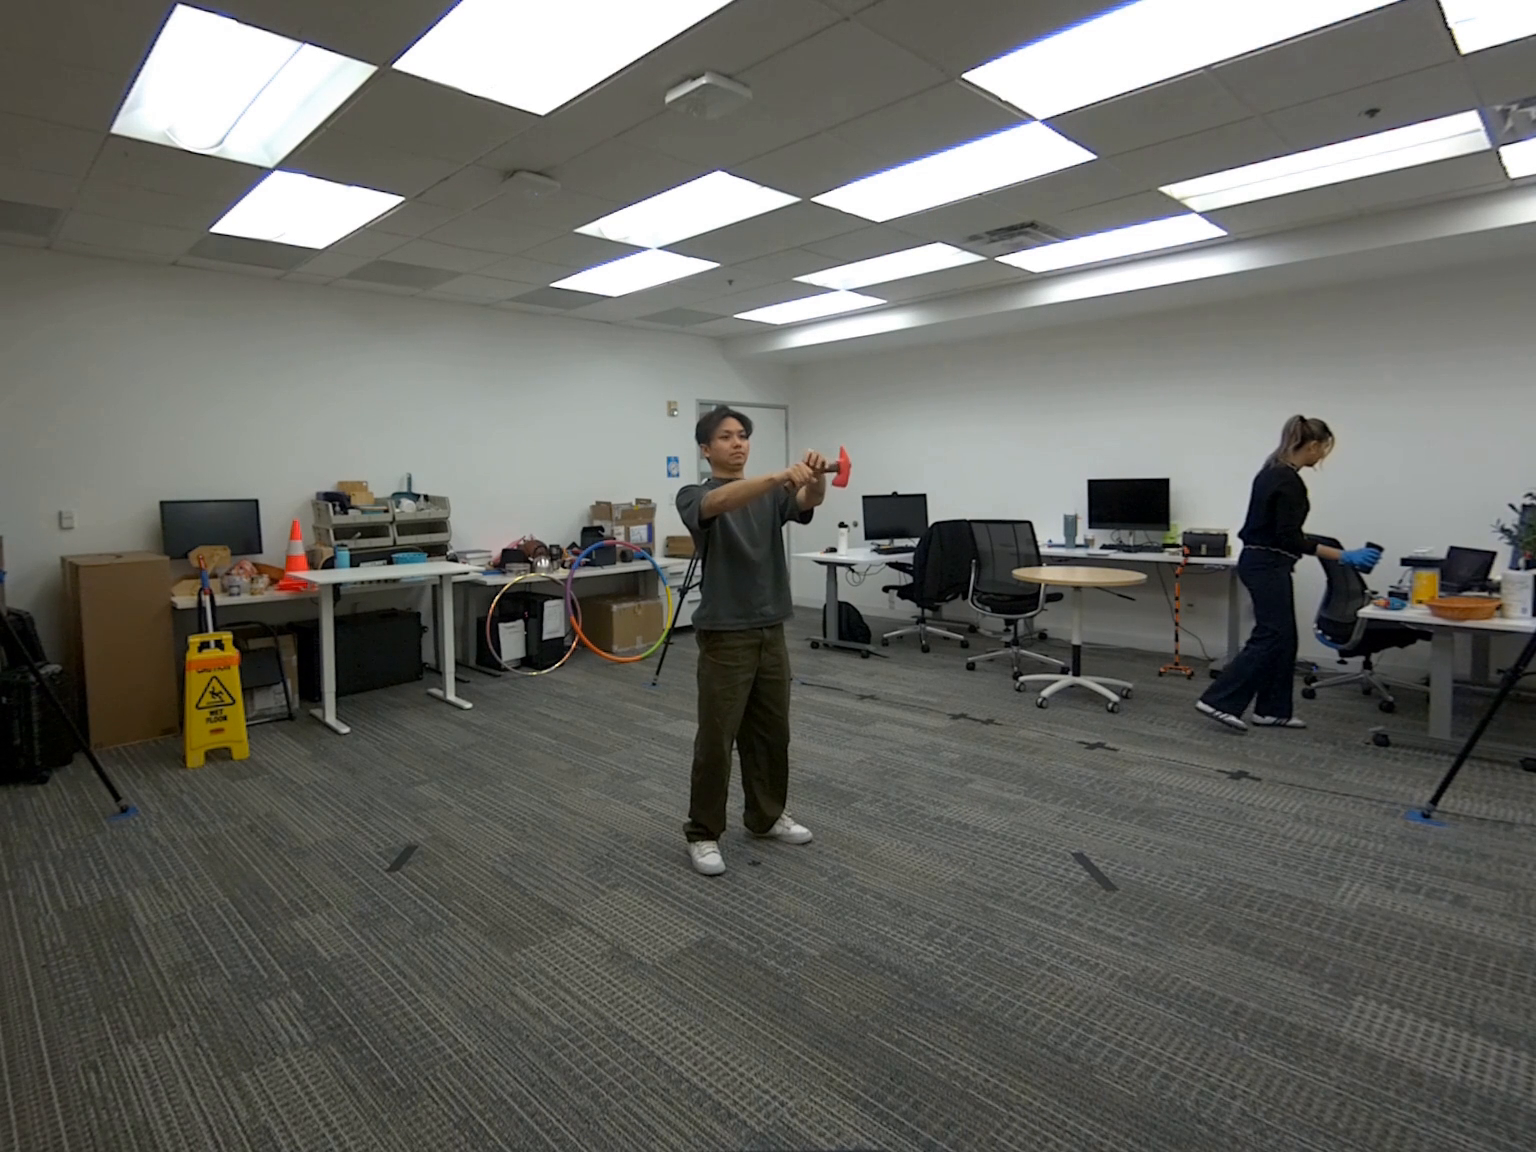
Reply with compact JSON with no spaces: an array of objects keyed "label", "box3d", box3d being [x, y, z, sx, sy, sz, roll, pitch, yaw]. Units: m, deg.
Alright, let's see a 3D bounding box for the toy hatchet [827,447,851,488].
[{"label":"toy hatchet","box3d":[0.161,-0.304,2.757,0.268,0.127,0.030,-32,25,-18]}]
